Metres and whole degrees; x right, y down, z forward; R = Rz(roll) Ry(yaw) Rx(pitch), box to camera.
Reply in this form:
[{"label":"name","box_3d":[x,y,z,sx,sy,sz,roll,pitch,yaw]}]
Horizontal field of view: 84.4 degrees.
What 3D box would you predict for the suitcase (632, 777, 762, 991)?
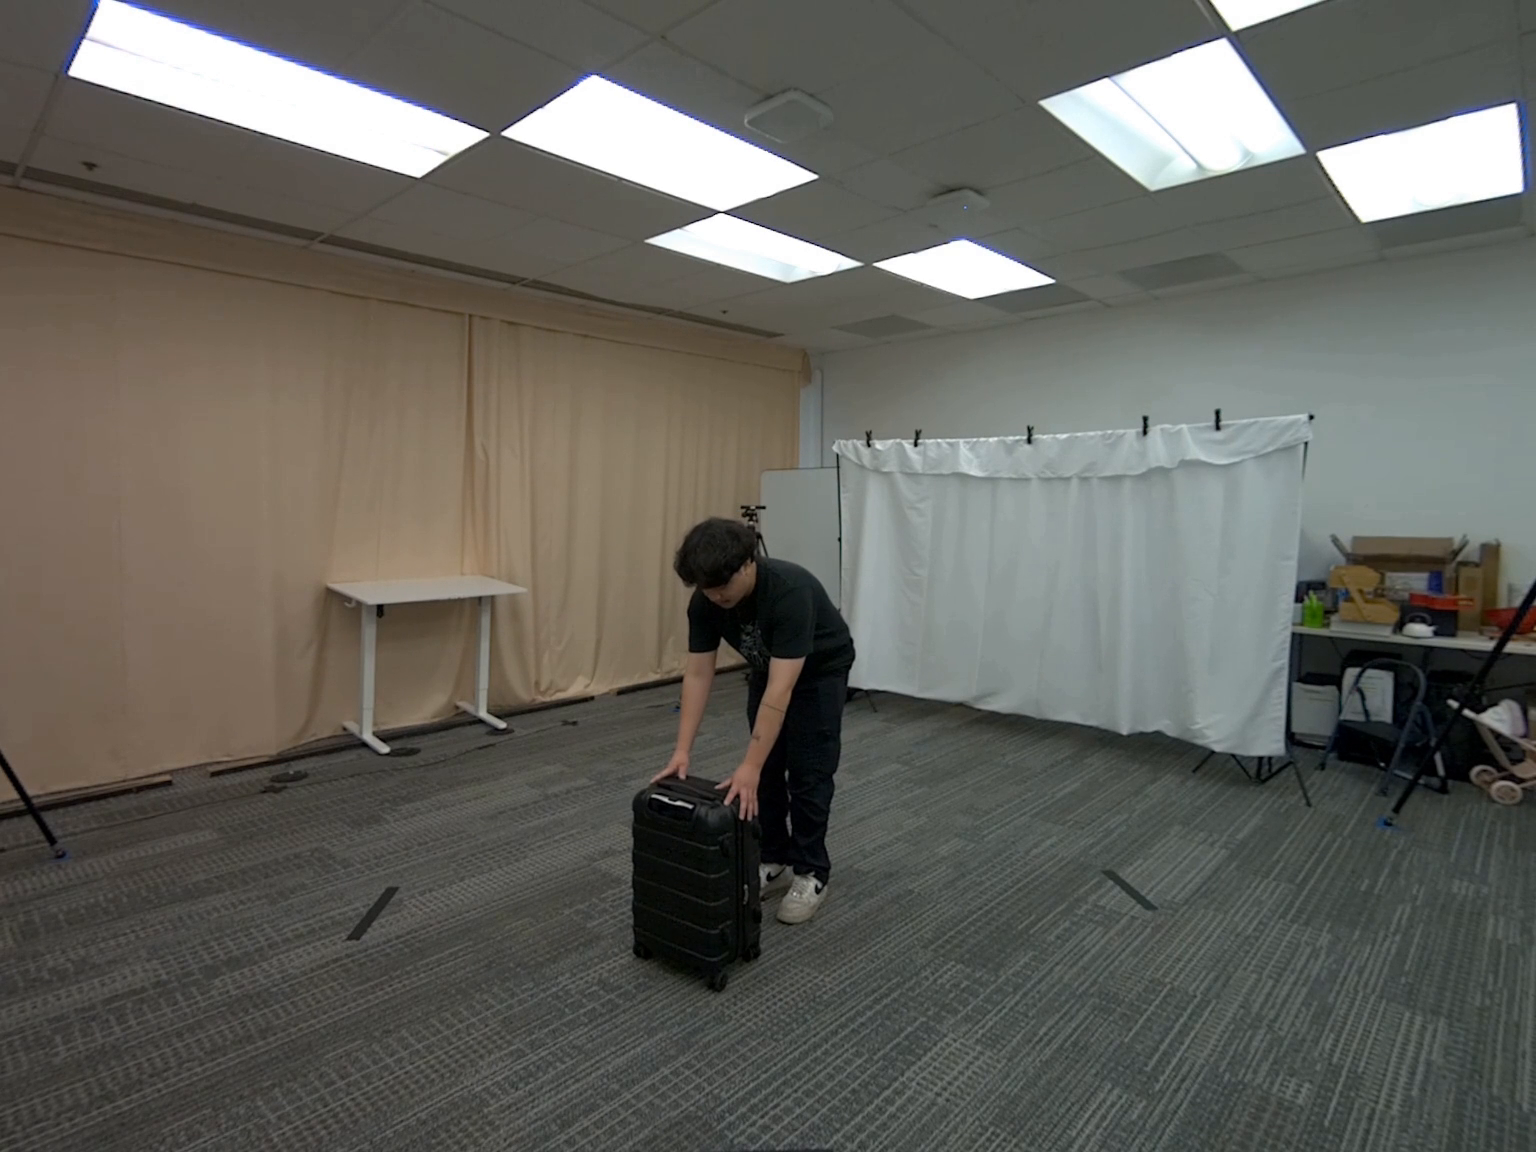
[{"label":"suitcase","box_3d":[-0.224,0.909,2.561,0.387,0.548,0.241,3,6,36]}]
